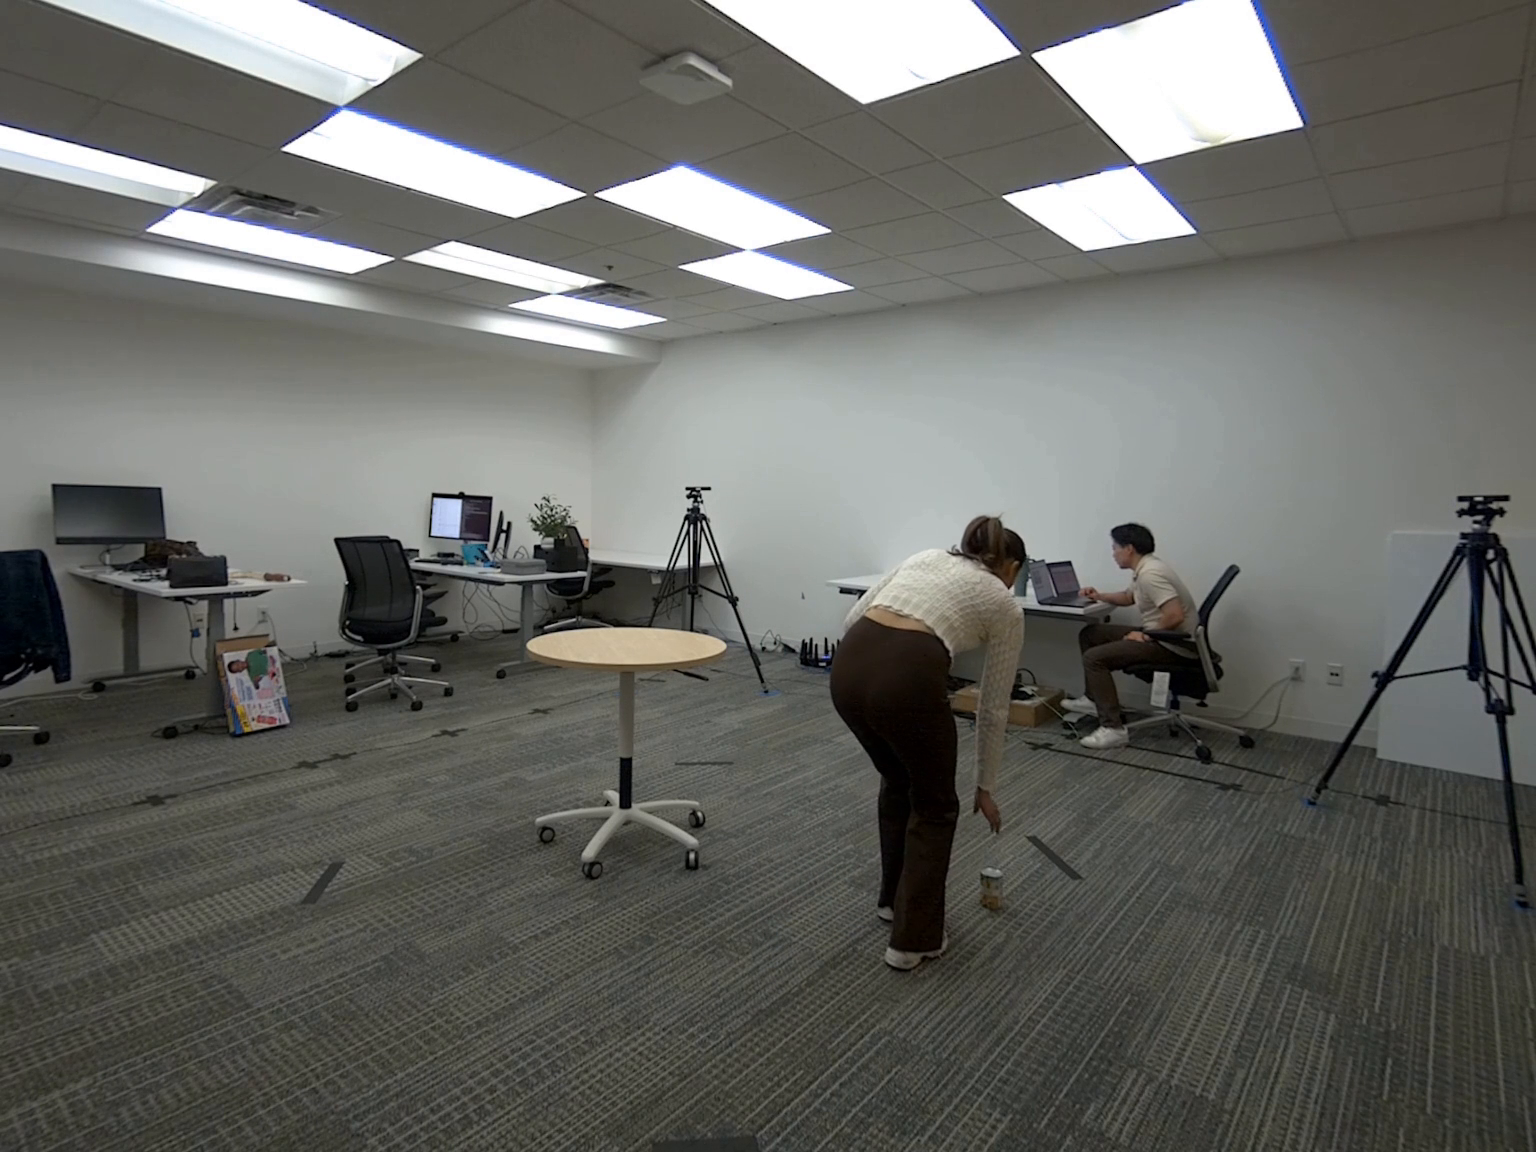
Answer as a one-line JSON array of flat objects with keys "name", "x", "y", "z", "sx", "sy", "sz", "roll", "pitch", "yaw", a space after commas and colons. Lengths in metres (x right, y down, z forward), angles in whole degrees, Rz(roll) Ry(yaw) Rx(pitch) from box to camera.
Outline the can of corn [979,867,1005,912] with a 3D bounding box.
[{"name": "can of corn", "x": 0.752, "y": 1.058, "z": 2.876, "sx": 0.074, "sy": 0.111, "sz": 0.074, "roll": 2, "pitch": 4, "yaw": -2}]
